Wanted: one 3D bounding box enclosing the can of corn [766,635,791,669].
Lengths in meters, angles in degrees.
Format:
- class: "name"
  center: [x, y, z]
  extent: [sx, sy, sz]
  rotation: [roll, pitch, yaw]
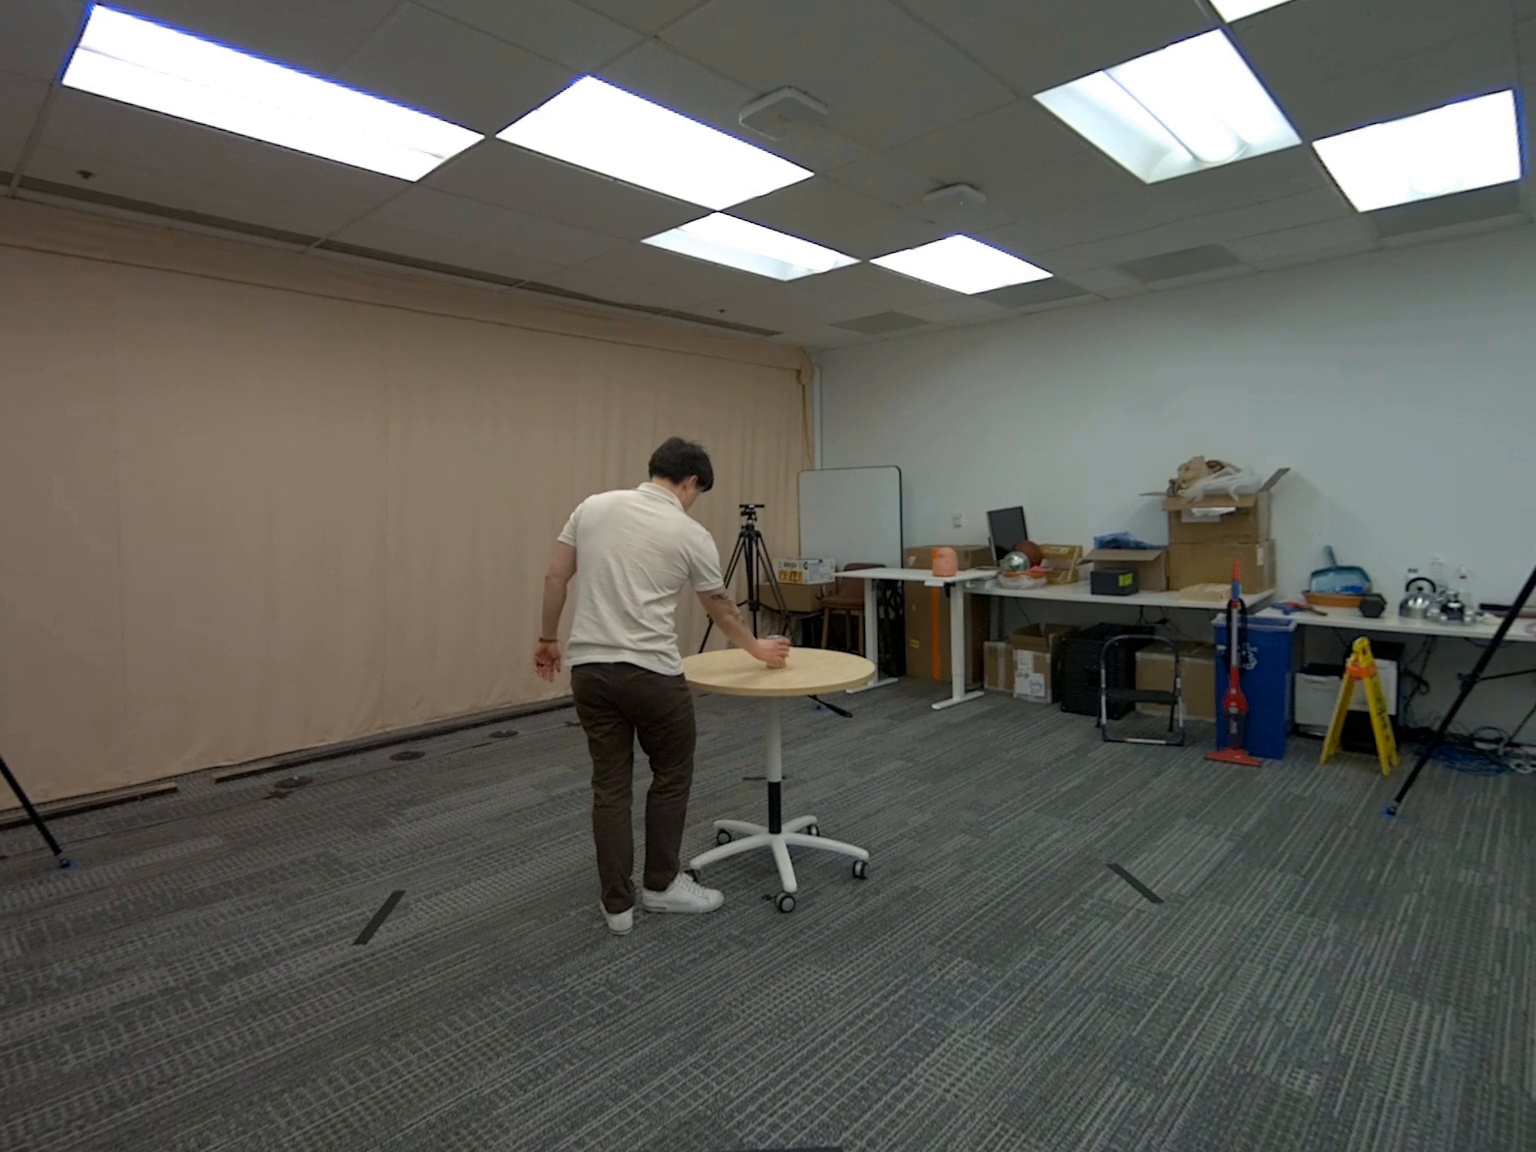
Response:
- class: "can of corn"
  center: [0.031, 0.283, 3.151]
  extent: [0.074, 0.111, 0.074]
  rotation: [1, 4, -2]
